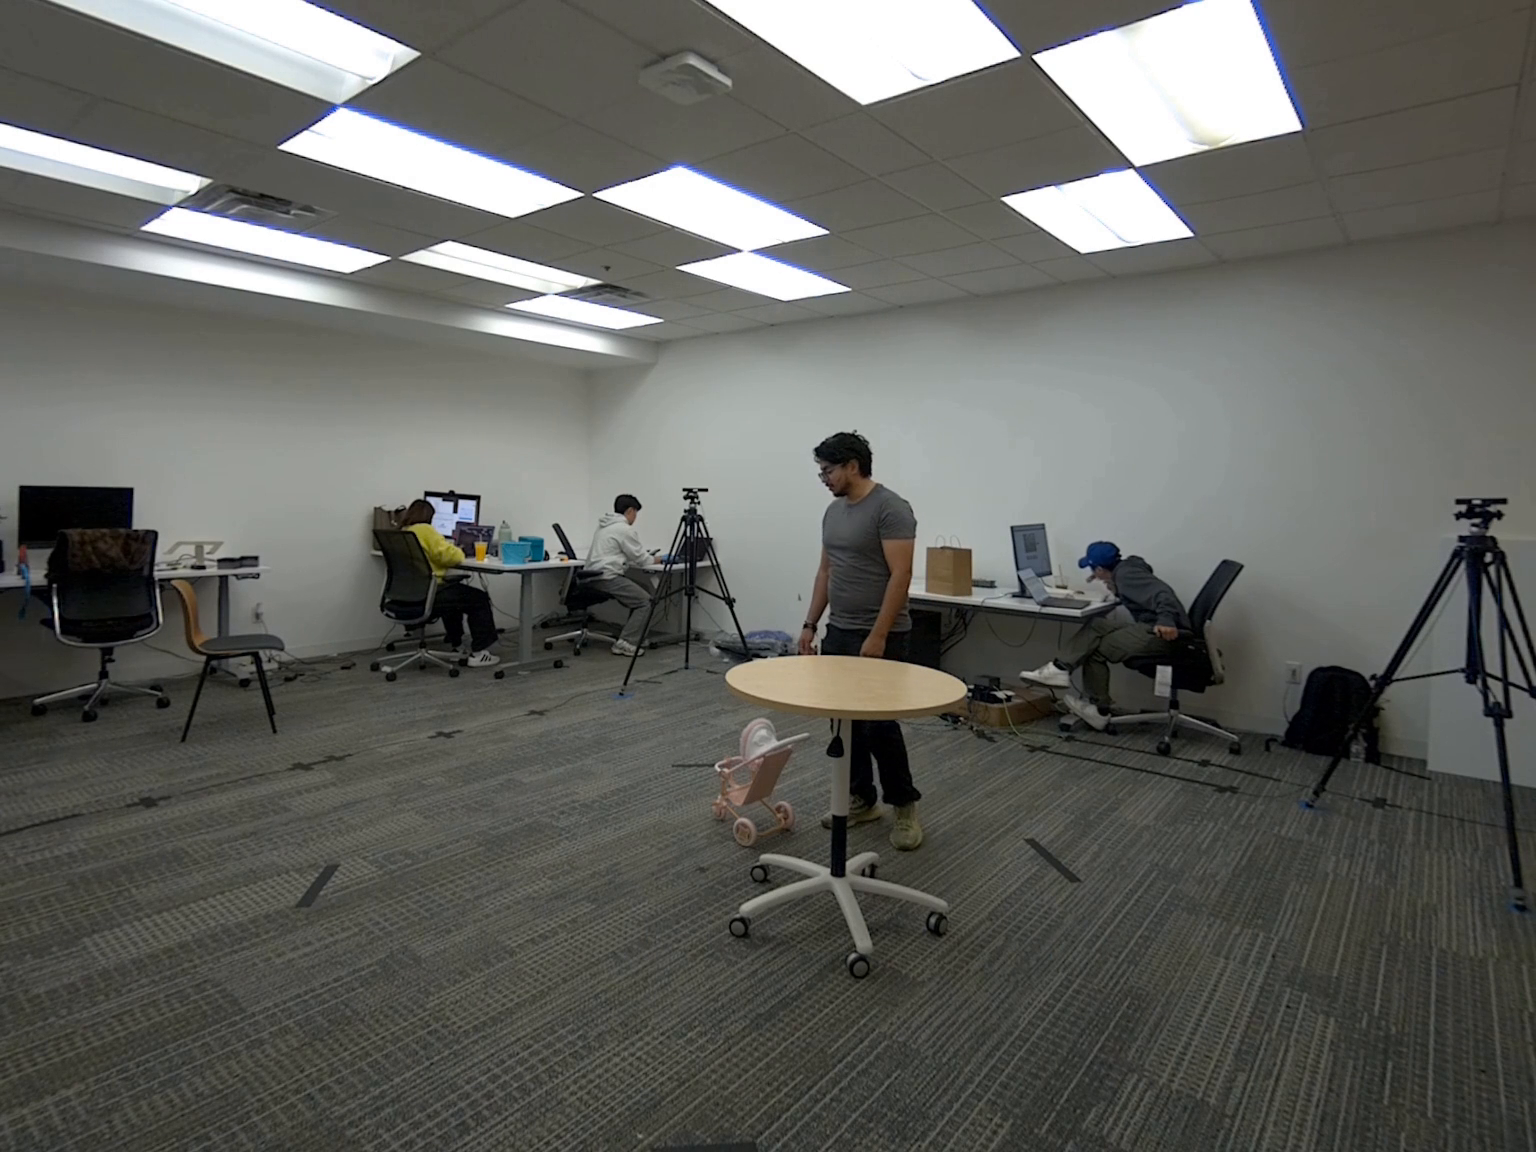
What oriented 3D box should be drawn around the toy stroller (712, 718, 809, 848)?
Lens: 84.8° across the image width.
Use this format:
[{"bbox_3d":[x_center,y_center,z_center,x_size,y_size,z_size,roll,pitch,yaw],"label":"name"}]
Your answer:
[{"bbox_3d":[-0.065,0.814,3.451,0.273,0.530,0.355,-2,20,-46],"label":"toy stroller"}]
